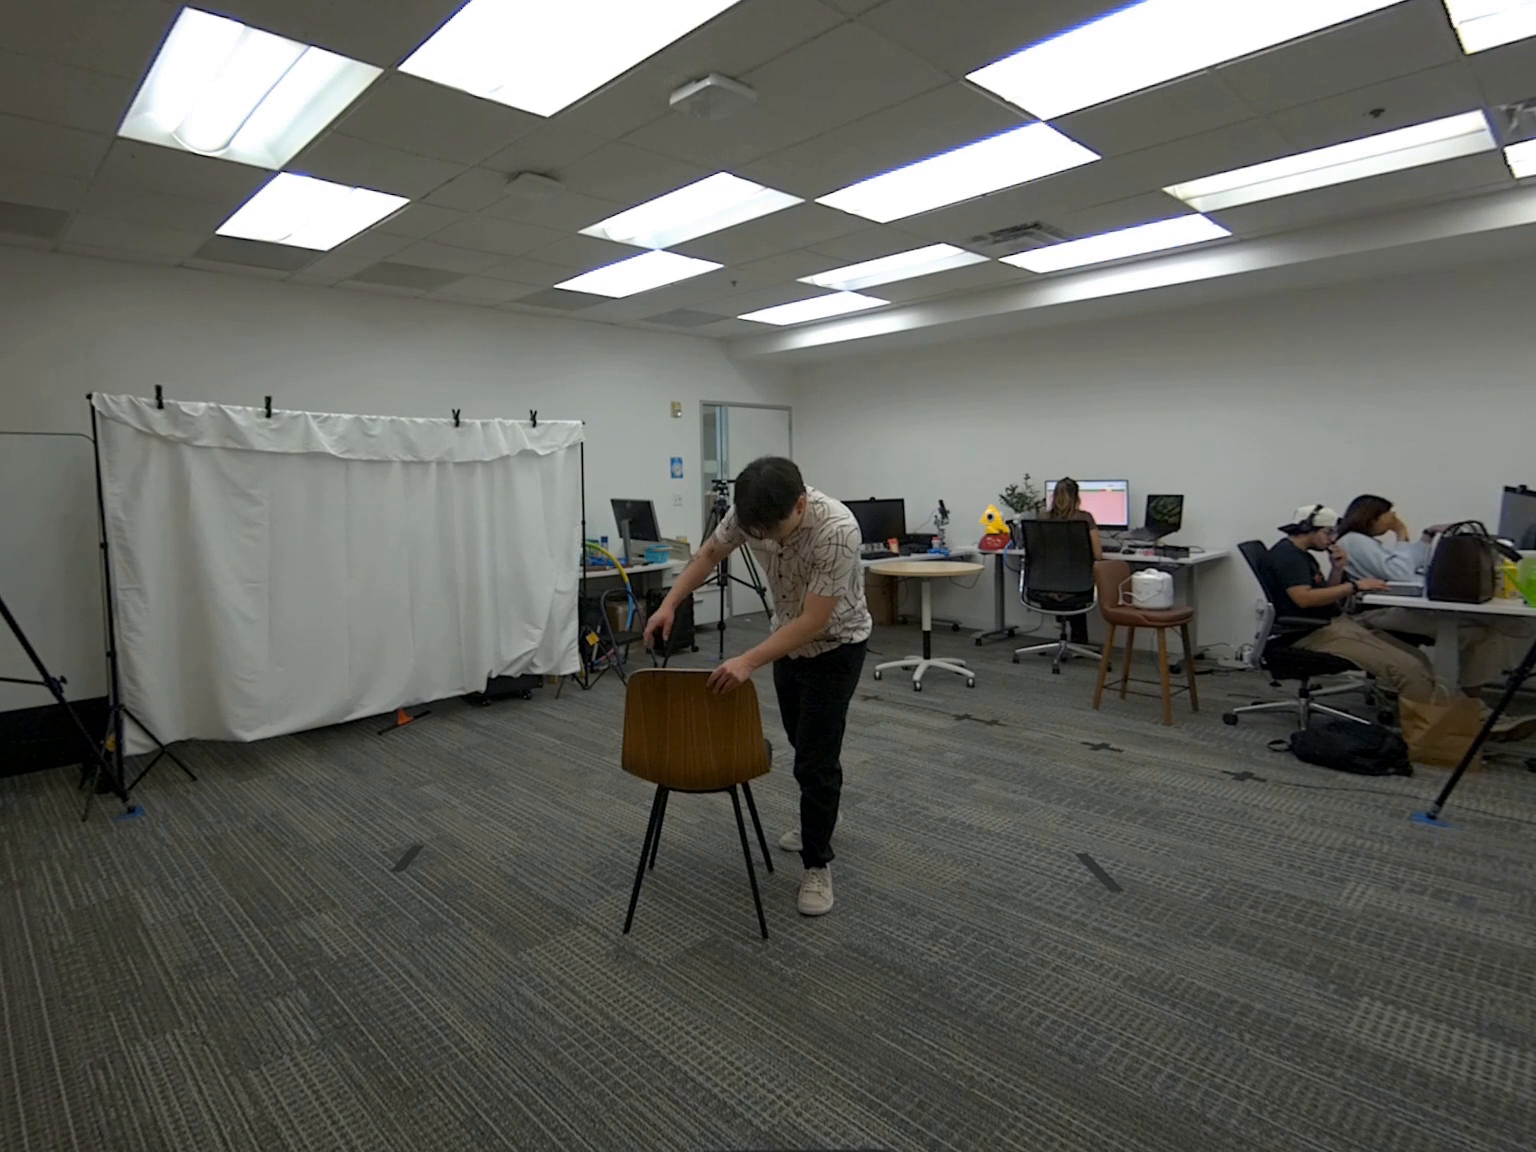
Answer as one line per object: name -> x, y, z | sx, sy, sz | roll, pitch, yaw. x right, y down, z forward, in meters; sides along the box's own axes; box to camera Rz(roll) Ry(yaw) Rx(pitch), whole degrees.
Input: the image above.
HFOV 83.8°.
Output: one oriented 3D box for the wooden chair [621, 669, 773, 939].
wooden chair -> -0.220, 0.653, 2.820 | 0.481, 0.870, 0.525 | -1, 9, 5
